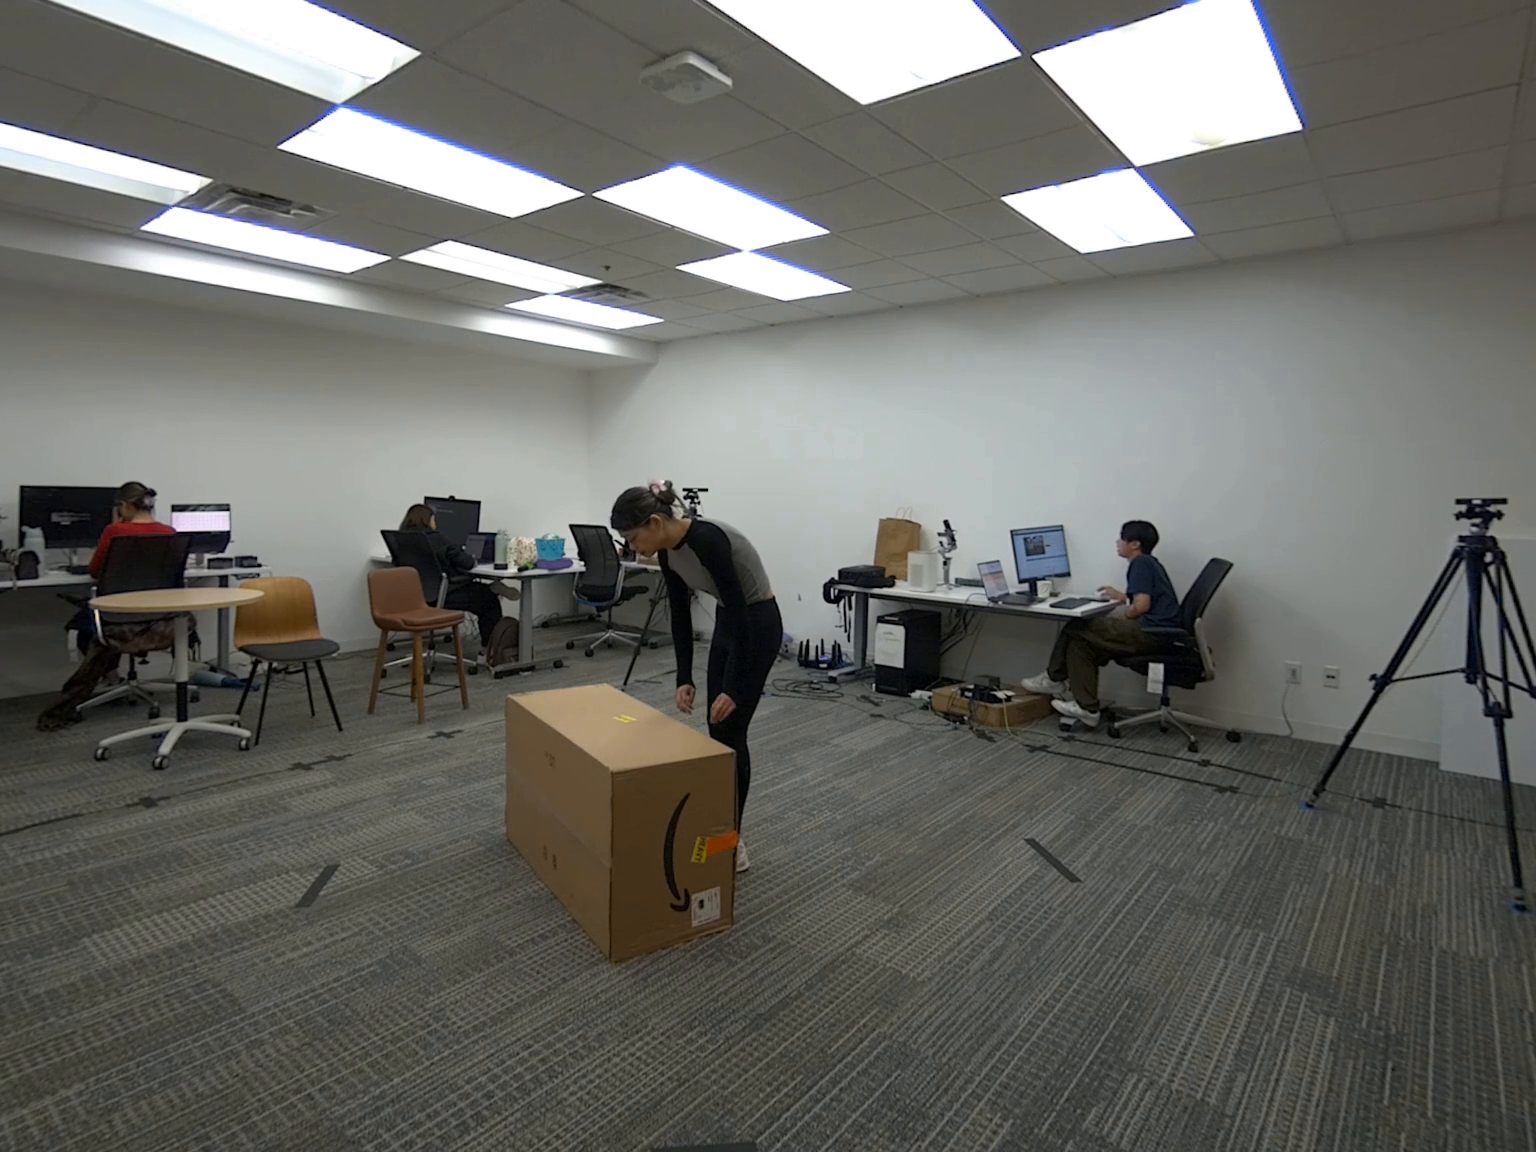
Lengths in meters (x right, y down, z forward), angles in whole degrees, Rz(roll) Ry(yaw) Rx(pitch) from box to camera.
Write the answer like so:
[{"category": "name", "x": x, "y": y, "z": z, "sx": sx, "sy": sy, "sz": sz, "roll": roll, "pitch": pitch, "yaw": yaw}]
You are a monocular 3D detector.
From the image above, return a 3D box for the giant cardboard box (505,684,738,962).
[{"category": "giant cardboard box", "x": -0.573, "y": 0.786, "z": 2.999, "sx": 0.414, "sy": 0.575, "sz": 1.059, "roll": -1, "pitch": 6, "yaw": -33}]
